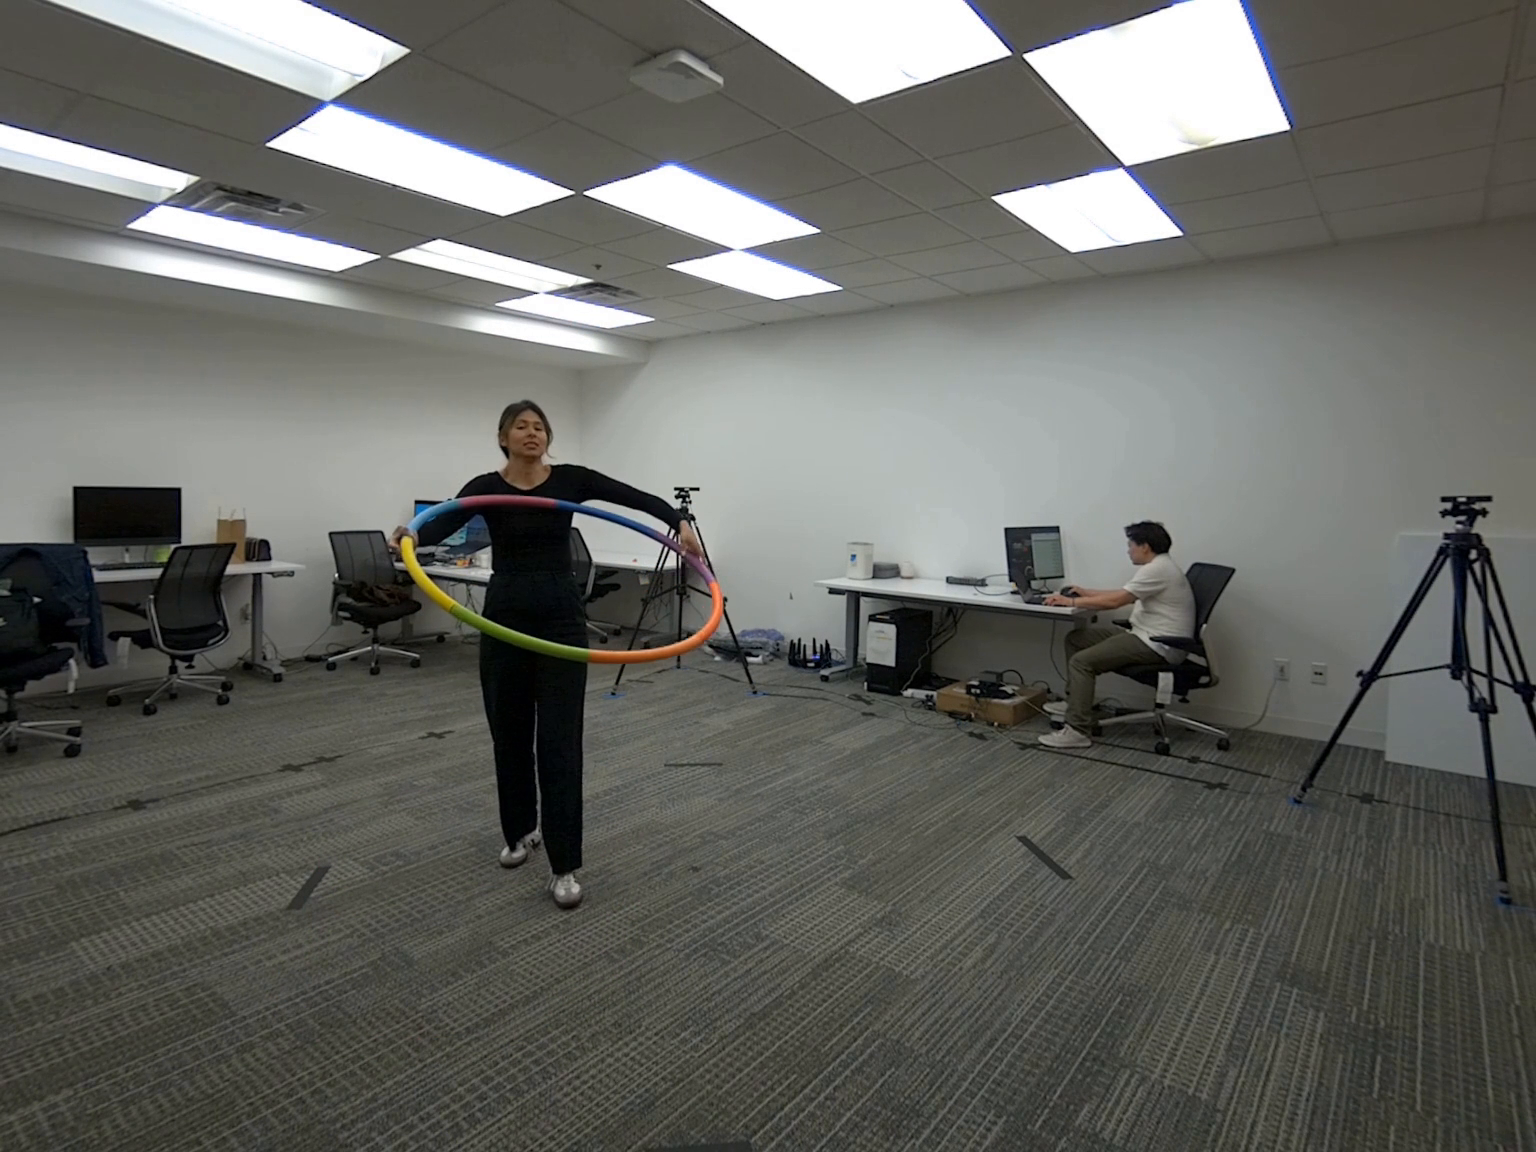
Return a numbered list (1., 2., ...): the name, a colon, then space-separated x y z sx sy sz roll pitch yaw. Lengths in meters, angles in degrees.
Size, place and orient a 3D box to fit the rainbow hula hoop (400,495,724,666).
1. rainbow hula hoop: -0.605 -0.036 2.601 0.976 0.051 1.008 14 25 -8
